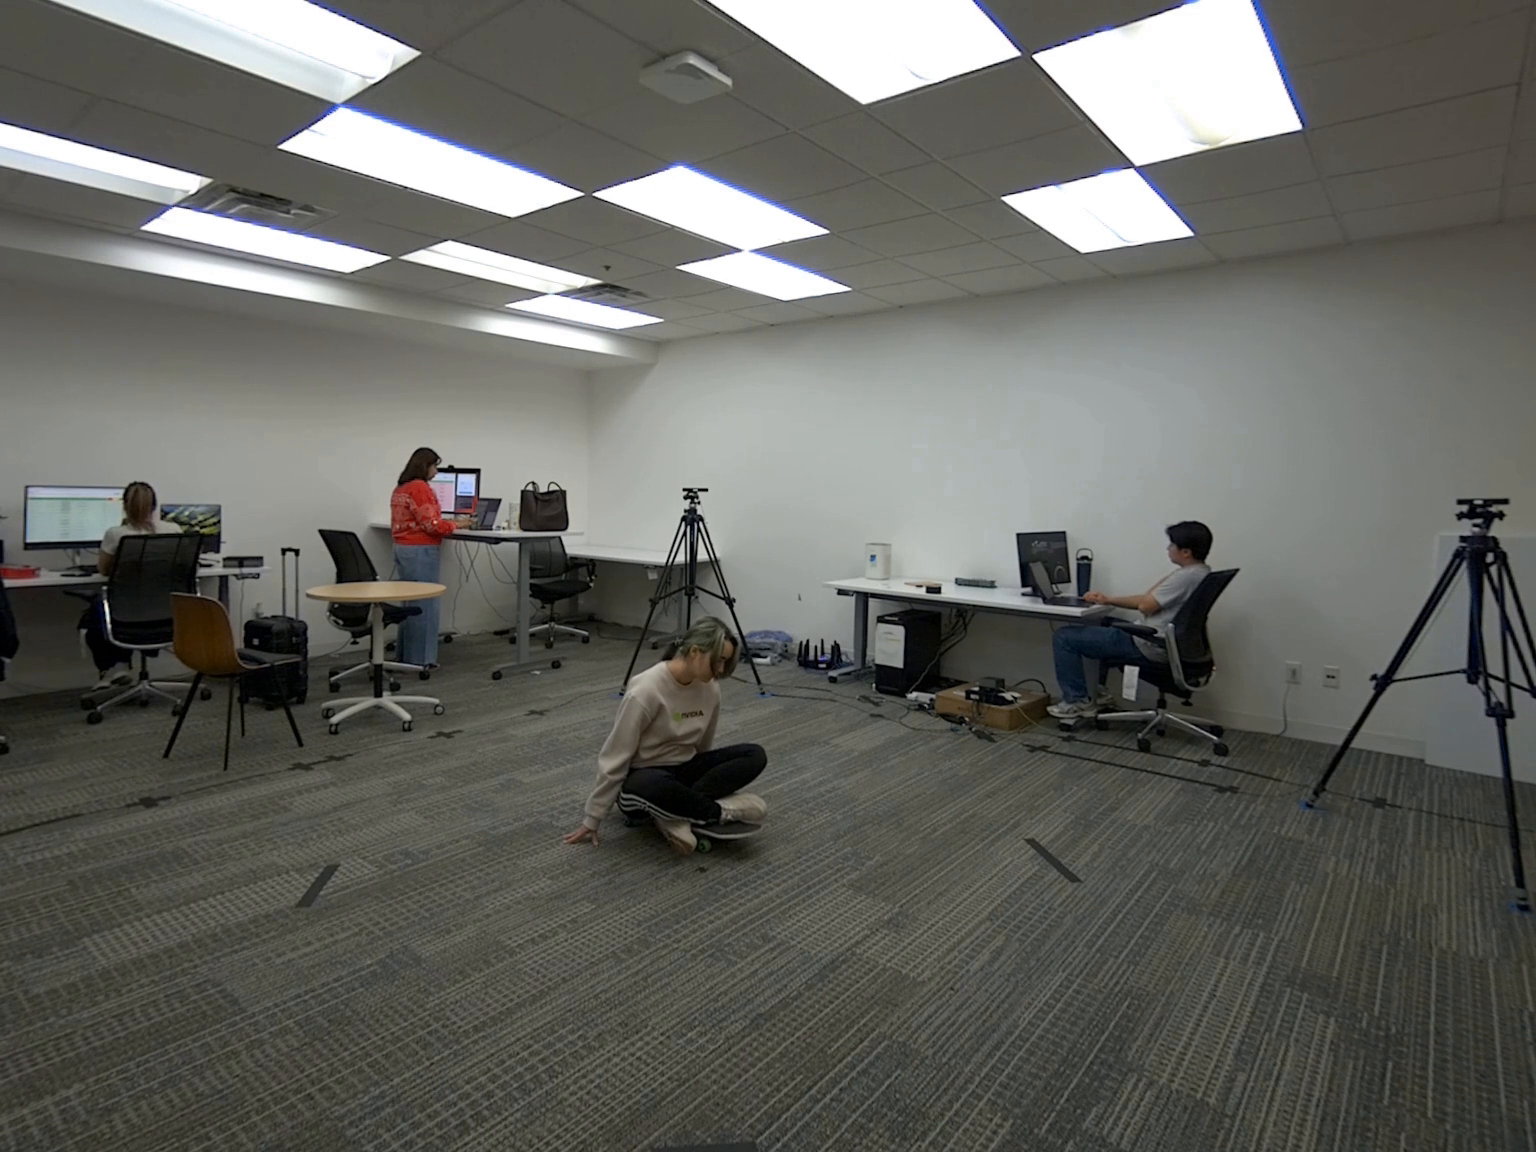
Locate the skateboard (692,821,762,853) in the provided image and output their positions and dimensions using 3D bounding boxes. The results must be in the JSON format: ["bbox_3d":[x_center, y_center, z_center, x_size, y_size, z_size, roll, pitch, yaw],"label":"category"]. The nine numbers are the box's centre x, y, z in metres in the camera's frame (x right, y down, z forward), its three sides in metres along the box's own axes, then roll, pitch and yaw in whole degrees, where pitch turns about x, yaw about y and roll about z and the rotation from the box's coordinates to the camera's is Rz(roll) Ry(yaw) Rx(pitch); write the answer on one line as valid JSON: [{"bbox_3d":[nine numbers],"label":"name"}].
[{"bbox_3d":[-0.368,0.982,3.452,0.810,0.110,0.188,4,3,34],"label":"skateboard"}]
